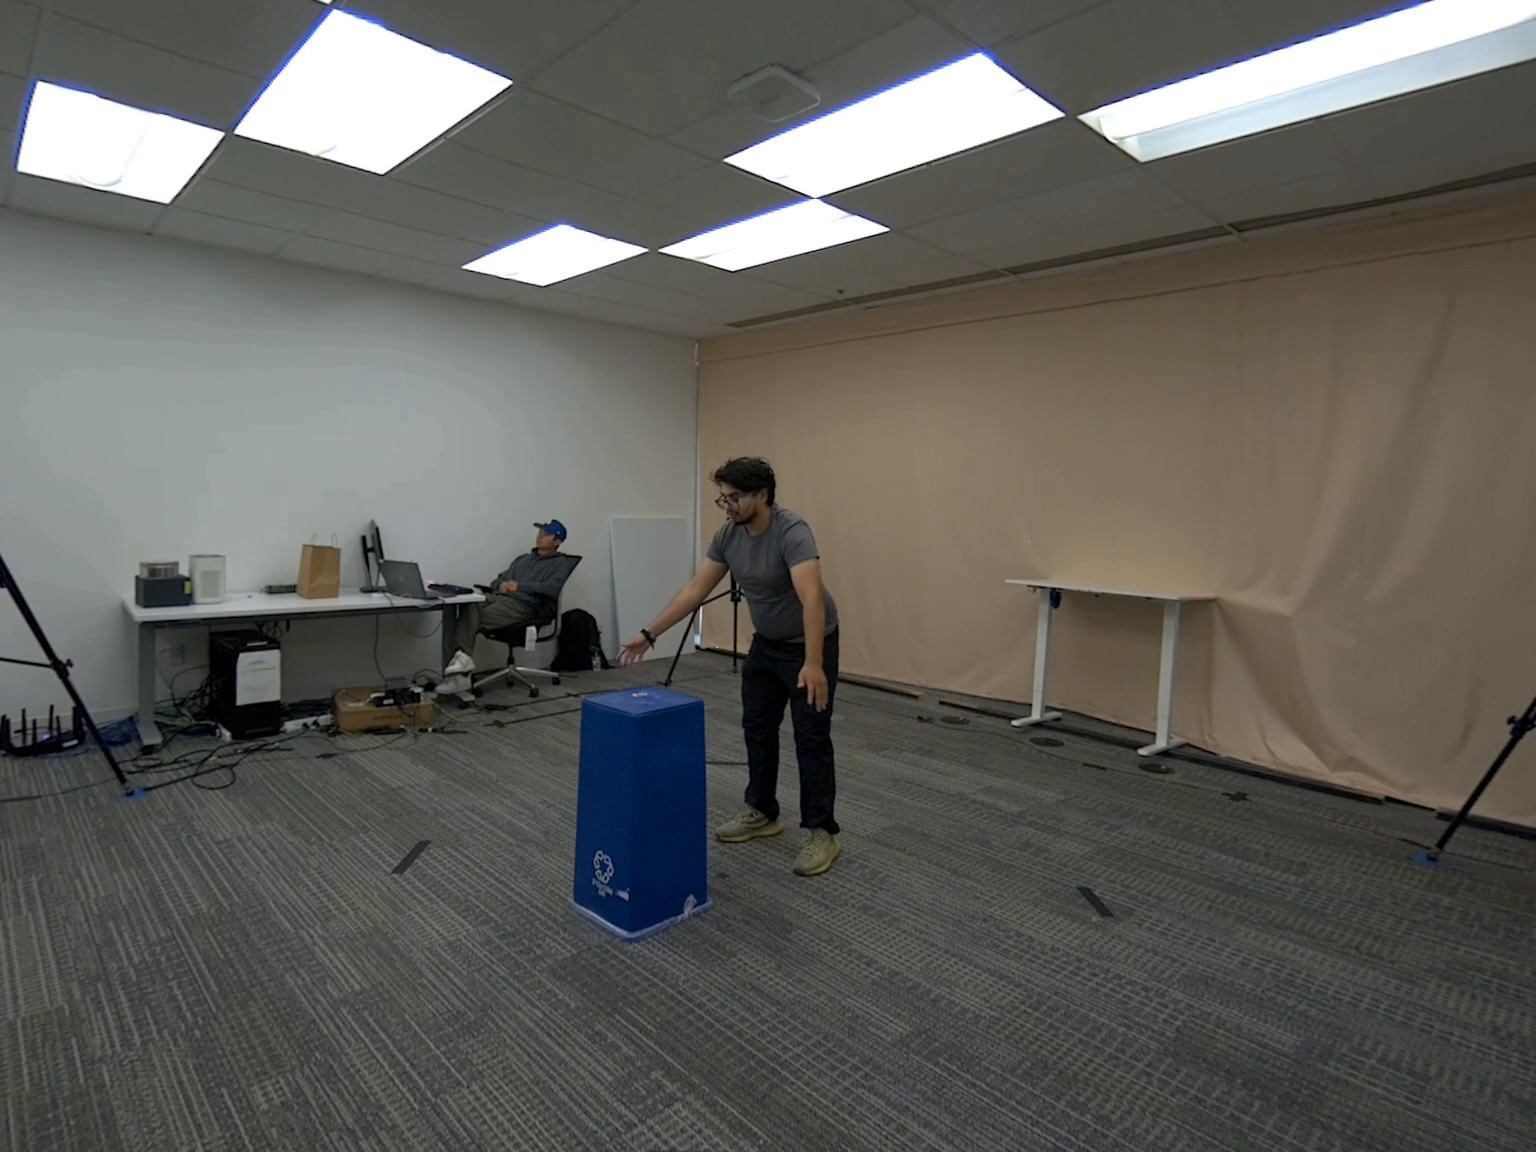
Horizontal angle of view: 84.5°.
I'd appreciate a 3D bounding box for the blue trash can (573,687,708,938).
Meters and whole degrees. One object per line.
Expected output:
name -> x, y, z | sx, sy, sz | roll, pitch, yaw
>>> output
blue trash can -> -0.438, 0.769, 2.858 | 0.369, 0.712, 0.383 | -1, 3, -45
